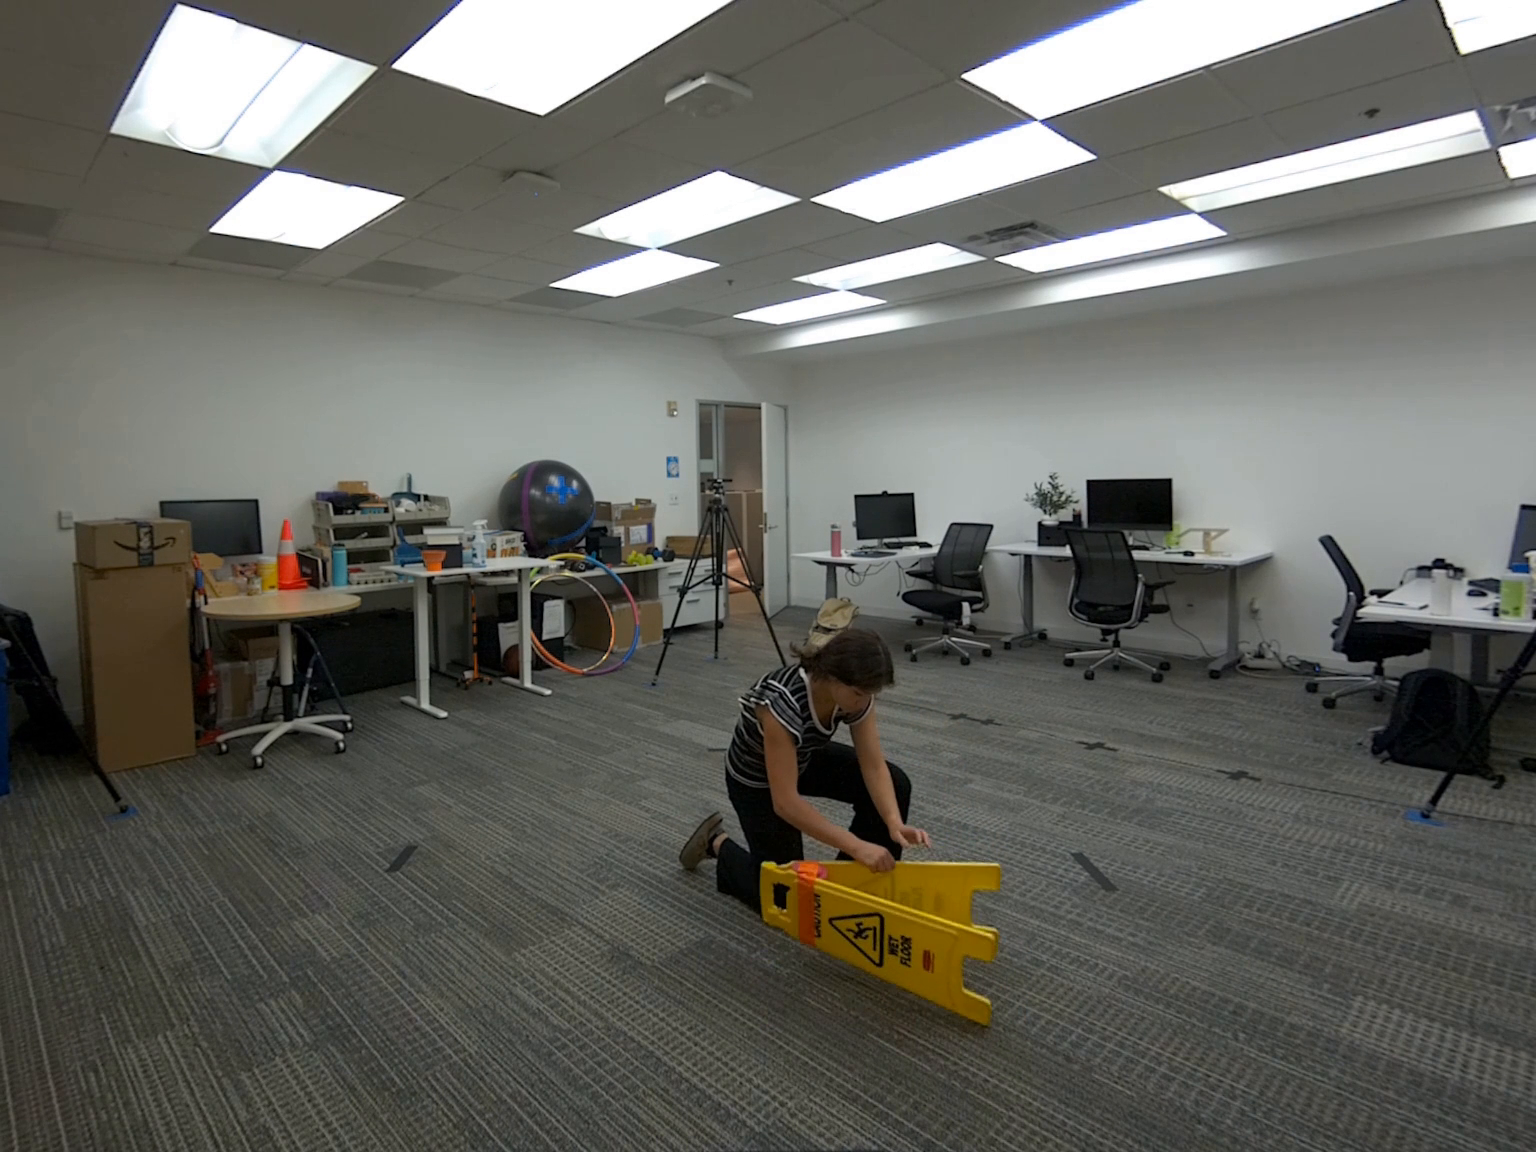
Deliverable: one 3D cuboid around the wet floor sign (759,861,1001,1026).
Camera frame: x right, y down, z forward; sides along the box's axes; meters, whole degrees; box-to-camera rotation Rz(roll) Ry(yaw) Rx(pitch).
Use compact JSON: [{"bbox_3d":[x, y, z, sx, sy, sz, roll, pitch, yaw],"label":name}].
[{"bbox_3d":[0.295,0.942,2.347,0.659,0.278,0.289,4,19,19],"label":"wet floor sign"}]
